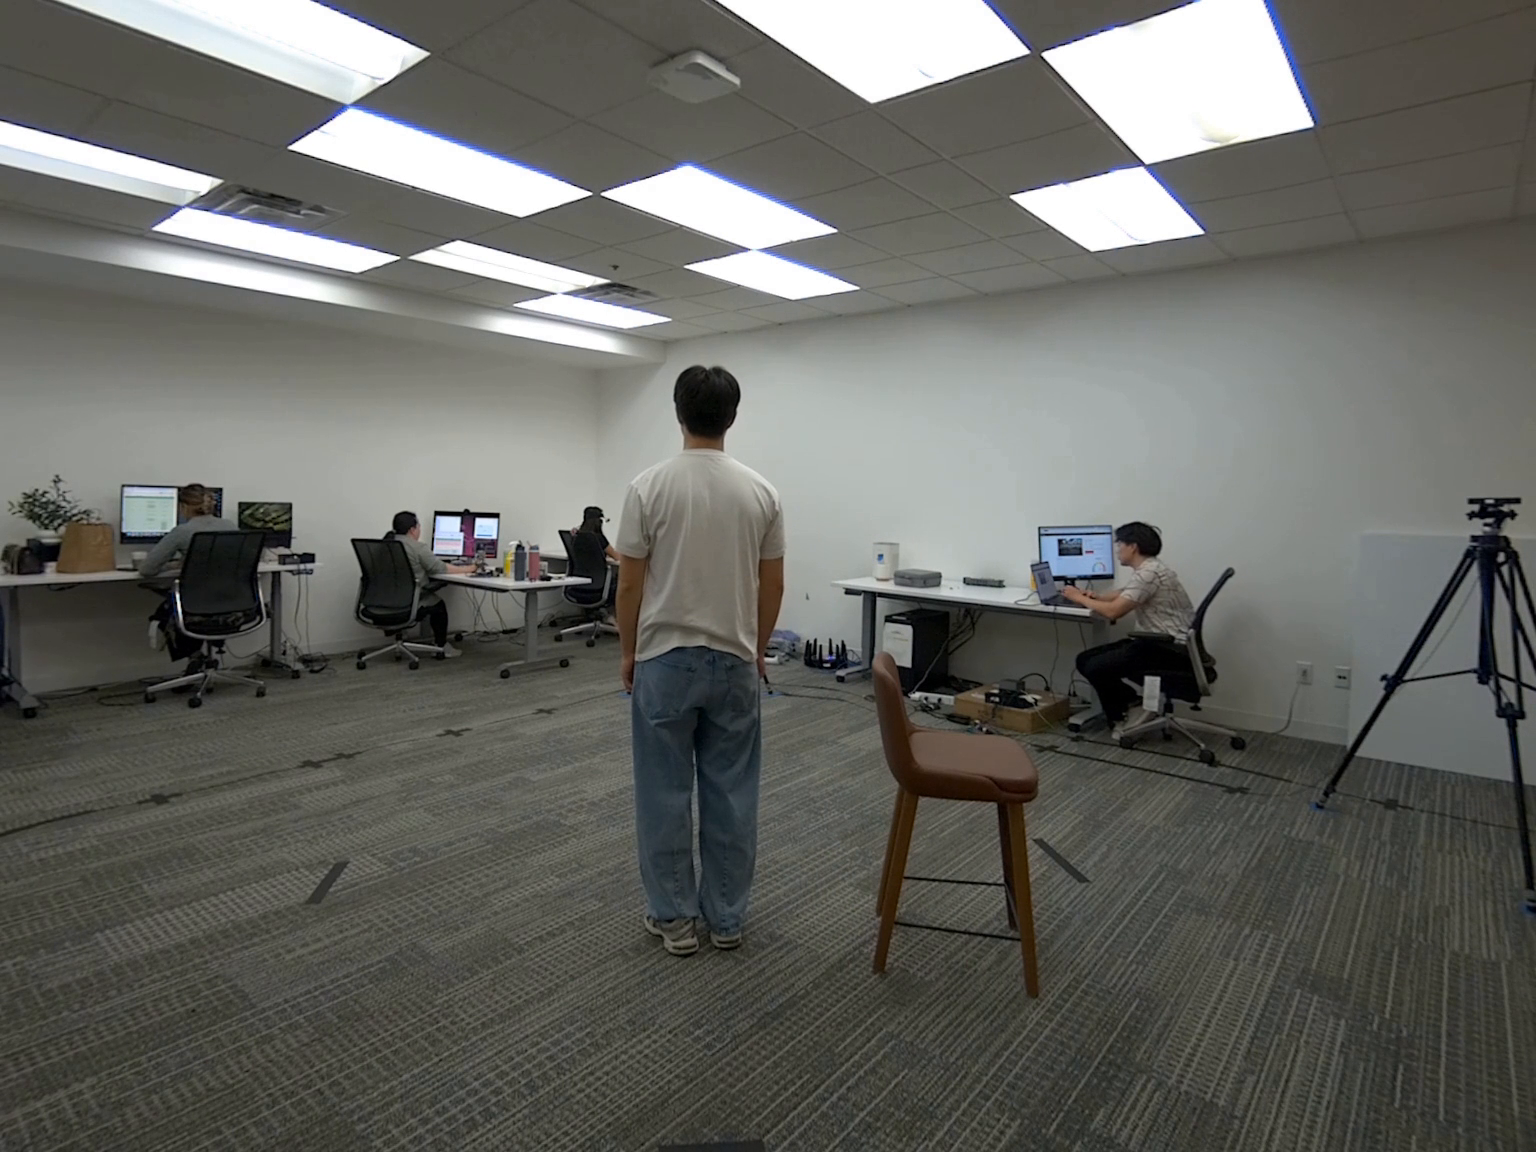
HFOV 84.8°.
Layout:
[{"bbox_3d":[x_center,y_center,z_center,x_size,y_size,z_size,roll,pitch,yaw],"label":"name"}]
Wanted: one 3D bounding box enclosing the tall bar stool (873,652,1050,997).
[{"bbox_3d":[0.552,0.699,2.571,0.474,0.888,0.452,0,3,11],"label":"tall bar stool"}]
